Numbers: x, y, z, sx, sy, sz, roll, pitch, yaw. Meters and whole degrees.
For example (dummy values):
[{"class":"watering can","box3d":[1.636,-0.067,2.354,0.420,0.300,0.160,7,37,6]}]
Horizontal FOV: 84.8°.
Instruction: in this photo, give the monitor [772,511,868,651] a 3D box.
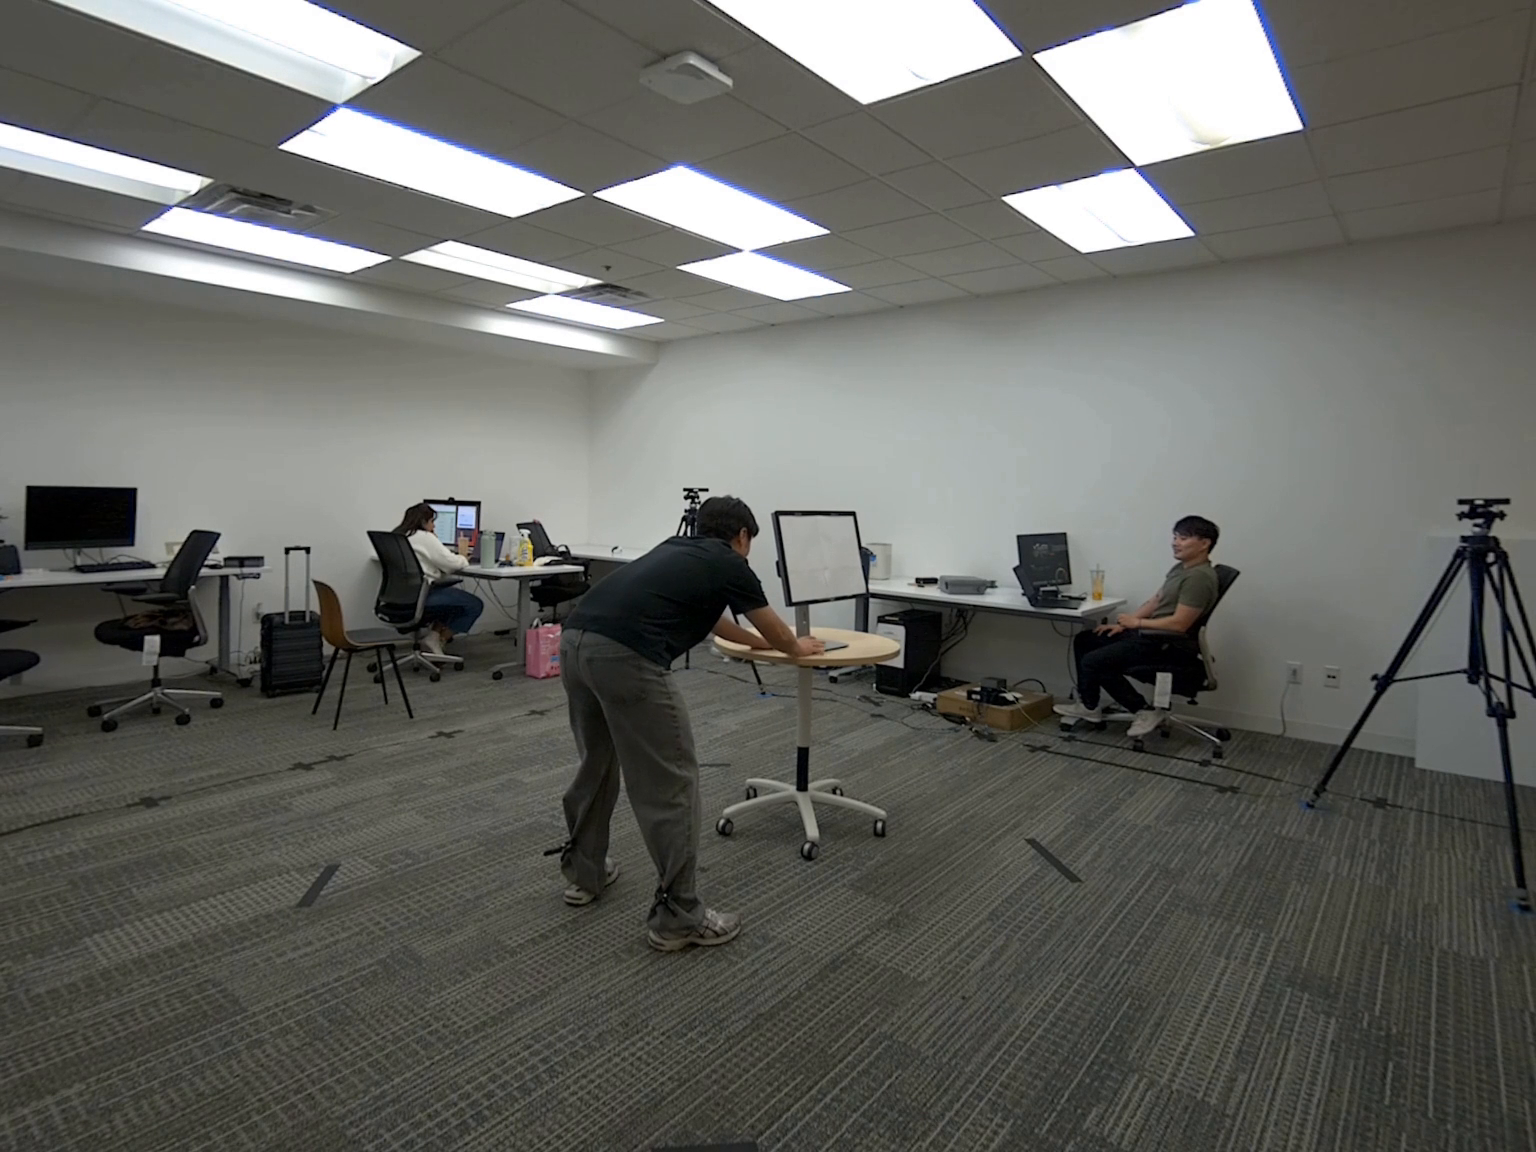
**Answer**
[{"class":"monitor","box3d":[0.161,0.010,3.418,0.216,0.554,0.549,-4,0,37]}]
